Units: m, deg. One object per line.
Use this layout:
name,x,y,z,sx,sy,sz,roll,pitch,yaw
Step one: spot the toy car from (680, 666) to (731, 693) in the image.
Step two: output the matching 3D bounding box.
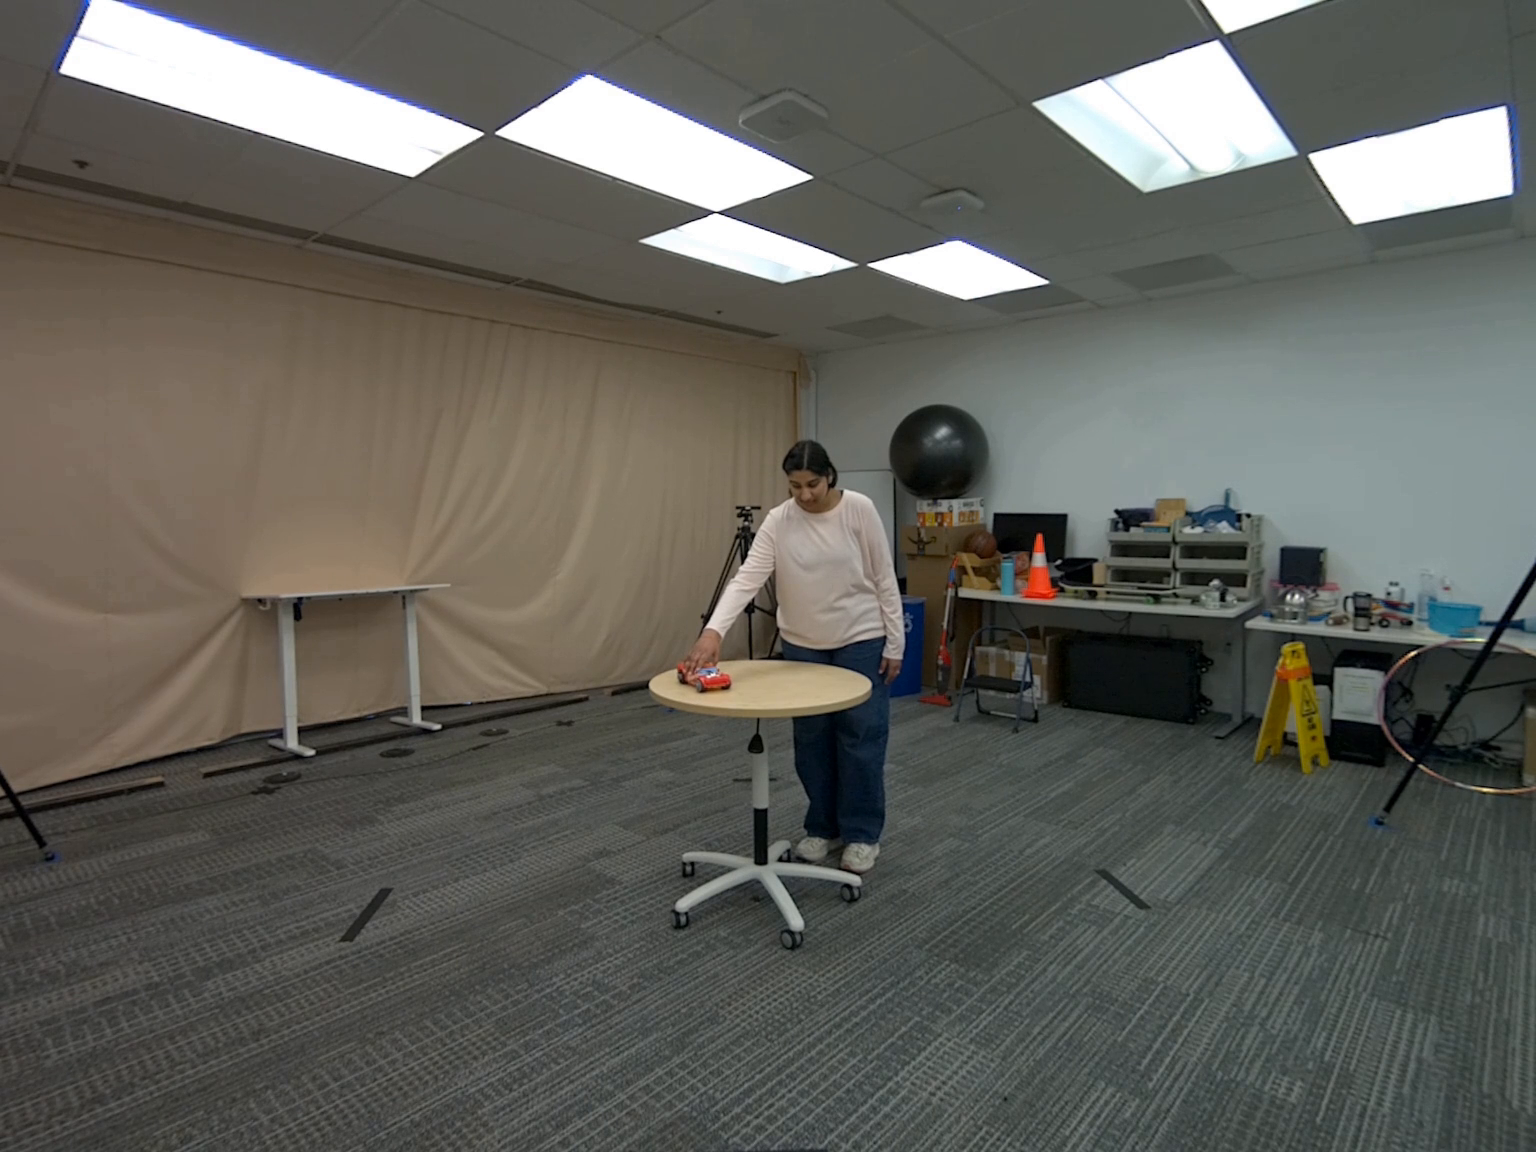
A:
toy car,-0.222,0.342,2.872,0.127,0.082,0.263,-2,16,-28
